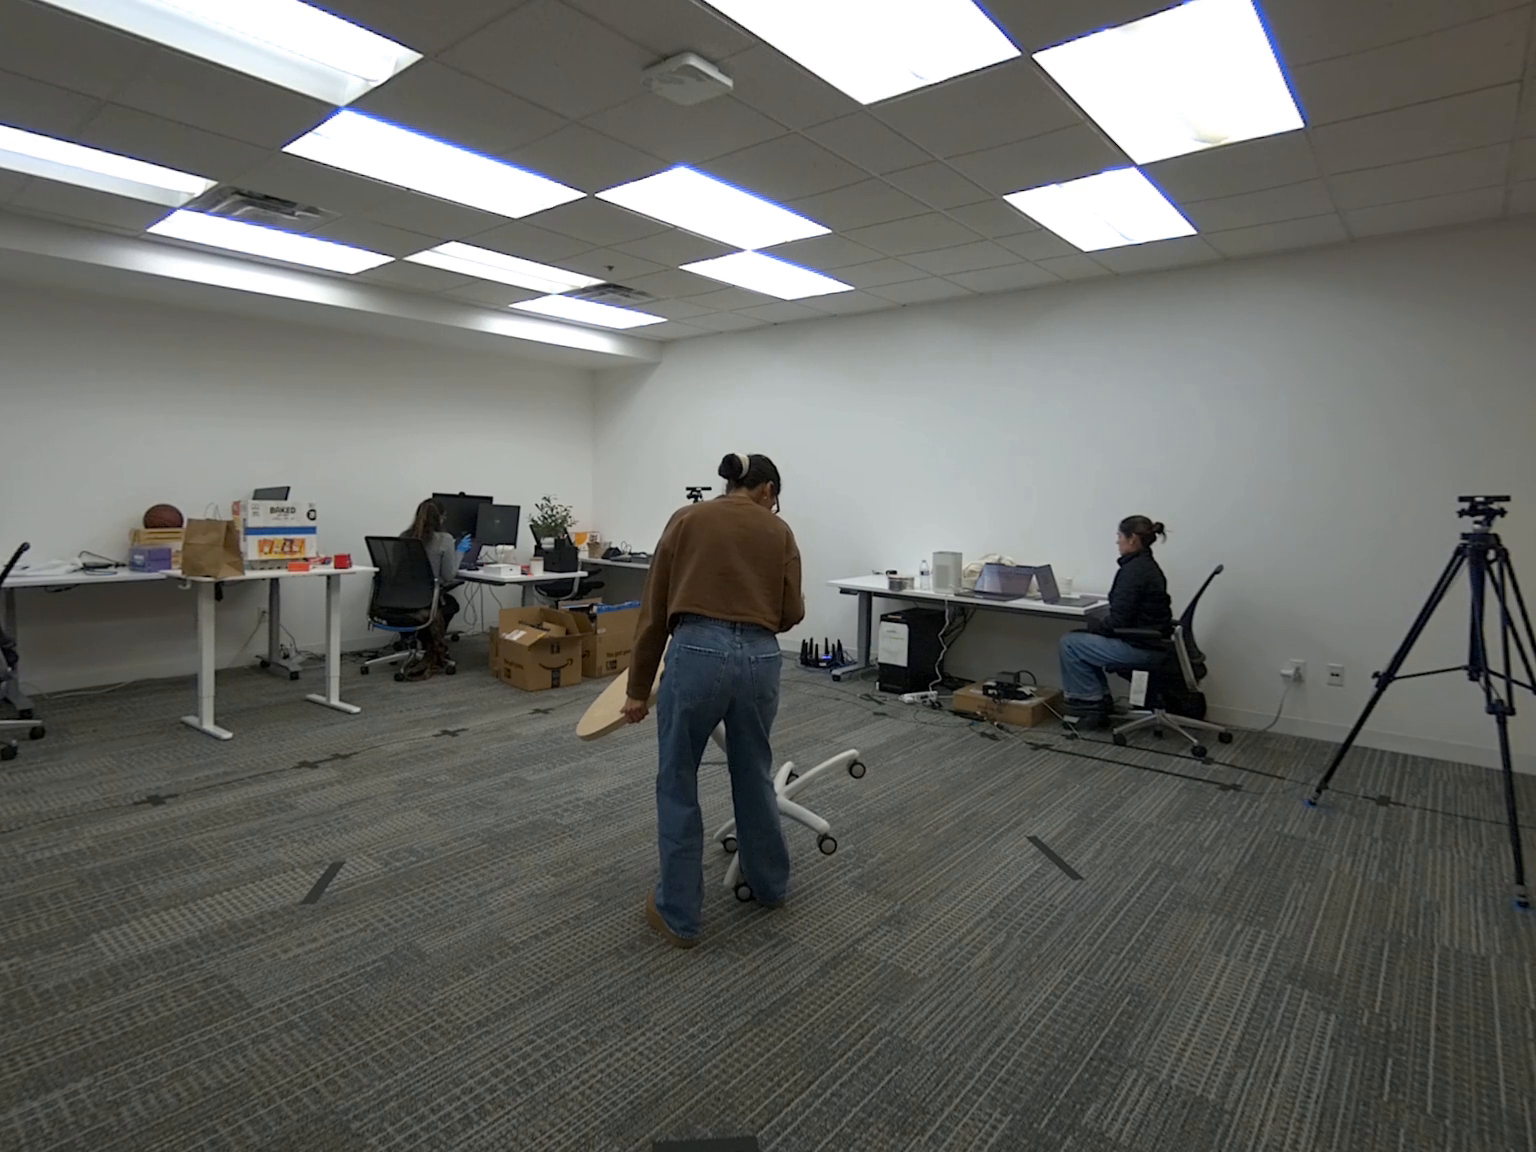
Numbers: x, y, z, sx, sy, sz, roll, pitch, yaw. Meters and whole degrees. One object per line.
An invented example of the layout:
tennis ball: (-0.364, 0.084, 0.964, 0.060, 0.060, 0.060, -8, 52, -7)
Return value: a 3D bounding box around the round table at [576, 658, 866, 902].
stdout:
round table: (-0.142, 0.606, 3.050, 0.764, 0.787, 0.770, -37, 7, 3)
